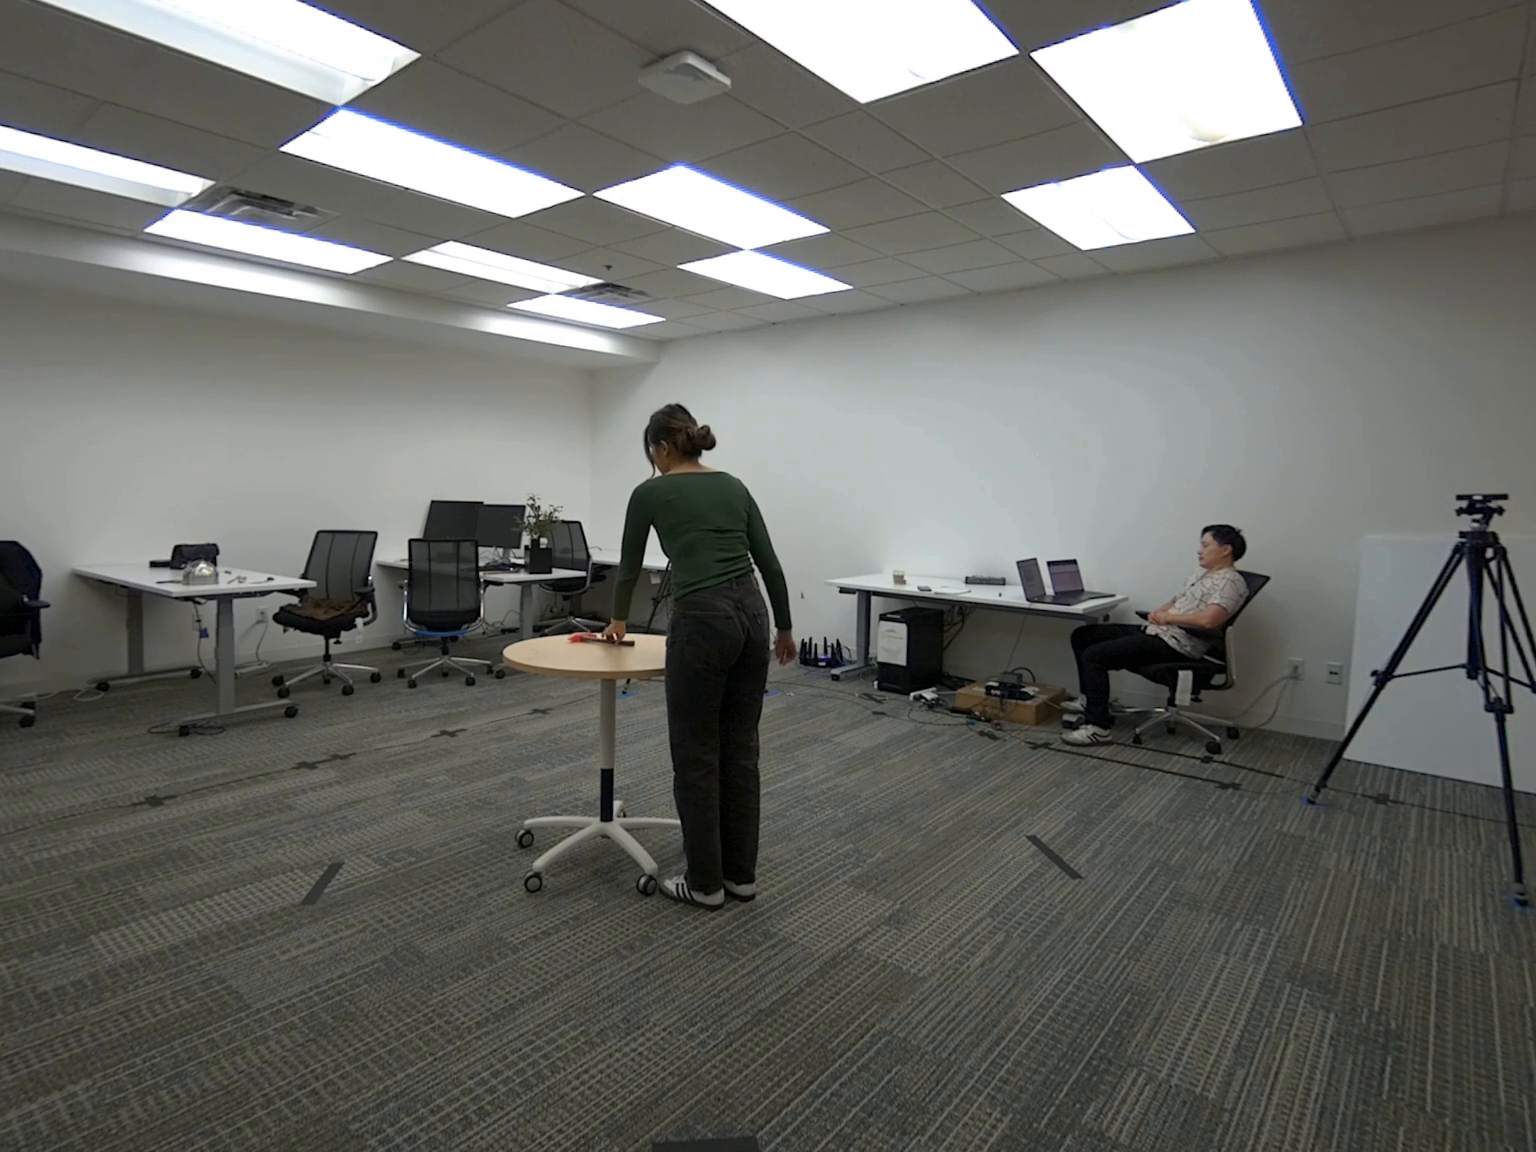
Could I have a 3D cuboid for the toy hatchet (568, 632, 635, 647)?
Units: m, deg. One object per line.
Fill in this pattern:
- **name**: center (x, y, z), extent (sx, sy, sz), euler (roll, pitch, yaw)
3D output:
- **toy hatchet**: center (-0.647, 0.246, 3.306), extent (0.272, 0.029, 0.131), euler (4, 5, 4)
